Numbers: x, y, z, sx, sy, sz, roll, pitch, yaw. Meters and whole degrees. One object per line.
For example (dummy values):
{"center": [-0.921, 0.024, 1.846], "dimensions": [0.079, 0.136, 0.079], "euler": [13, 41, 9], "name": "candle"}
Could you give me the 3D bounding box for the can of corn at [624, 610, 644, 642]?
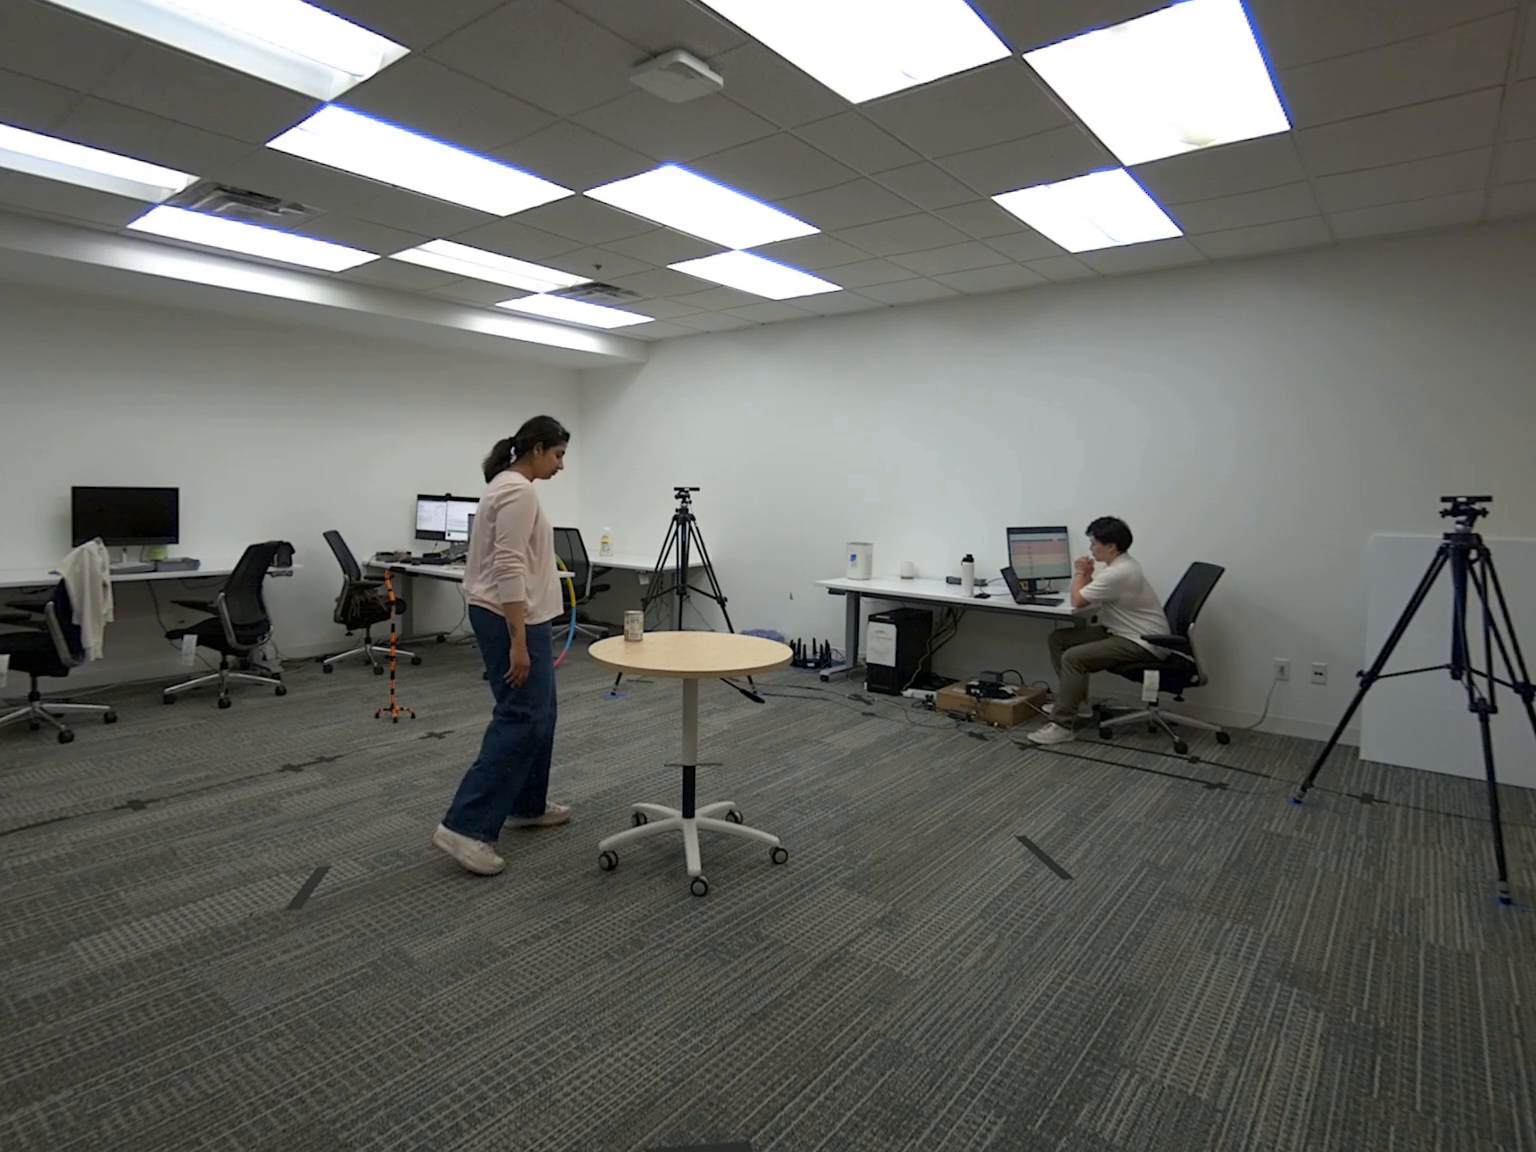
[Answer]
{"center": [-0.547, 0.198, 3.352], "dimensions": [0.074, 0.110, 0.074], "euler": [-1, 4, -2], "name": "can of corn"}
